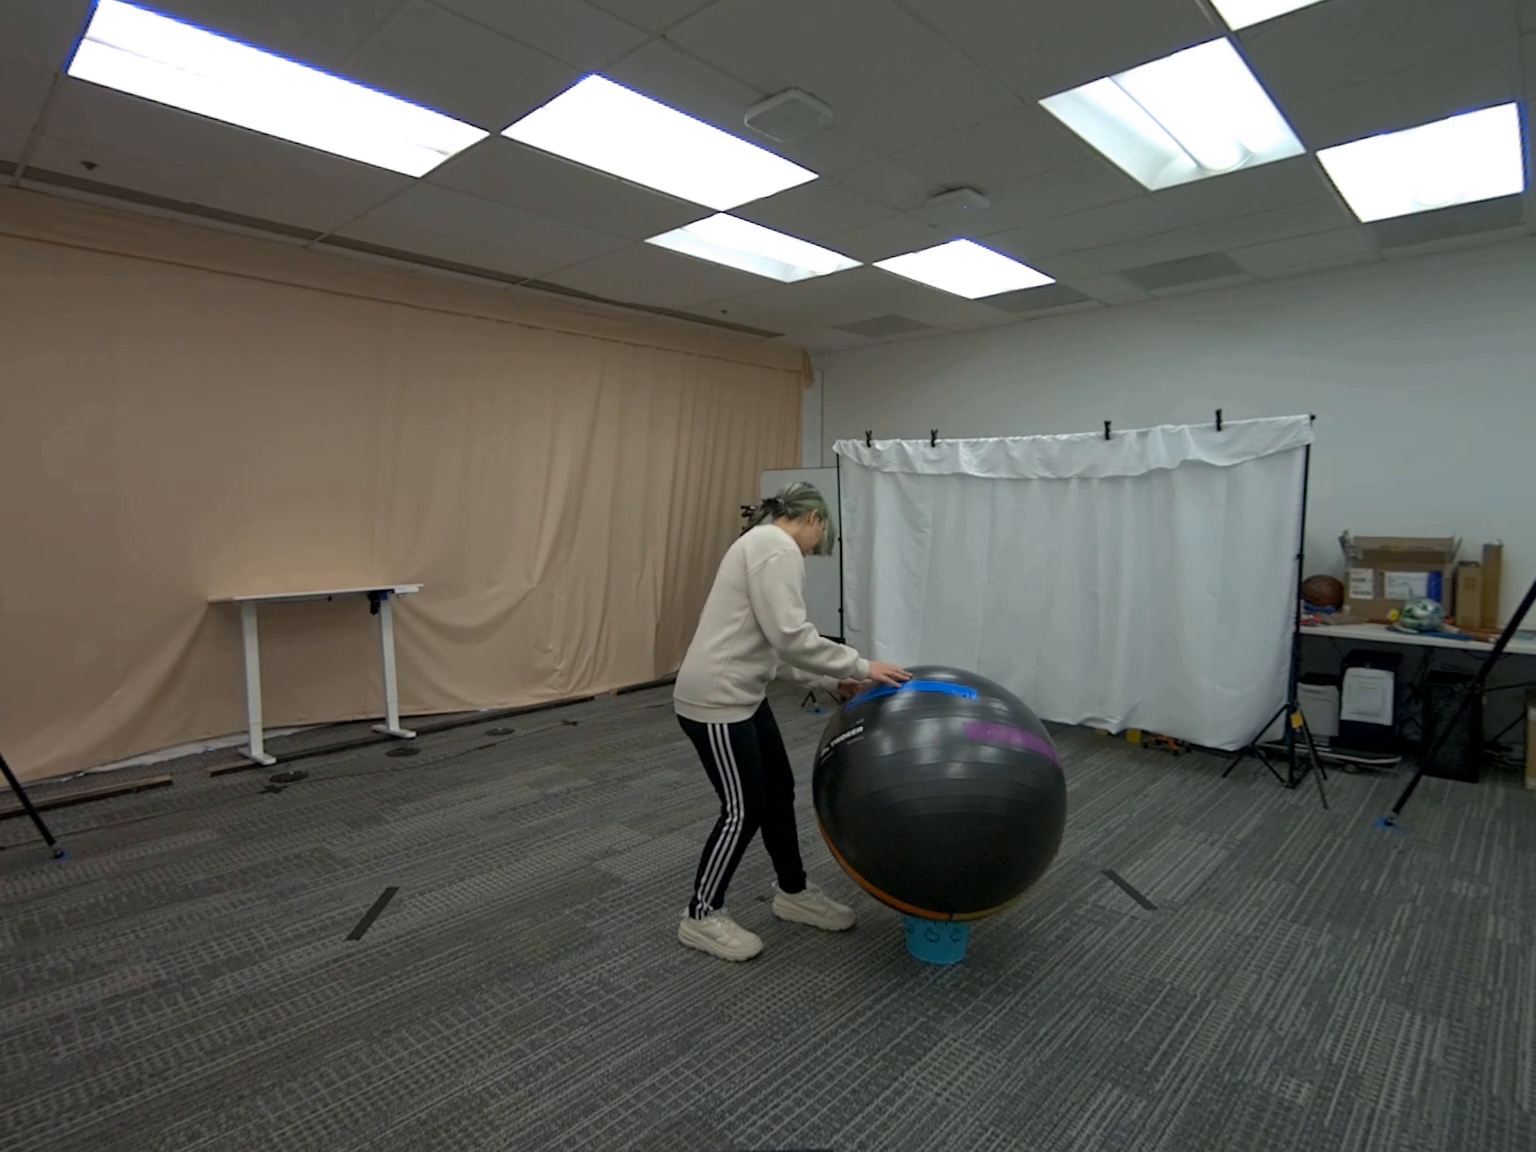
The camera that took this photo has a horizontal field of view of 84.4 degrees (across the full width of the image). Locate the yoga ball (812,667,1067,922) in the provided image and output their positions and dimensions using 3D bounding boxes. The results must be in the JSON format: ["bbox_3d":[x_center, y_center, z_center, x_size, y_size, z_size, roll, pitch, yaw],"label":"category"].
[{"bbox_3d":[0.537,0.663,2.610,0.757,0.756,0.760,0,4,-2],"label":"yoga ball"}]
